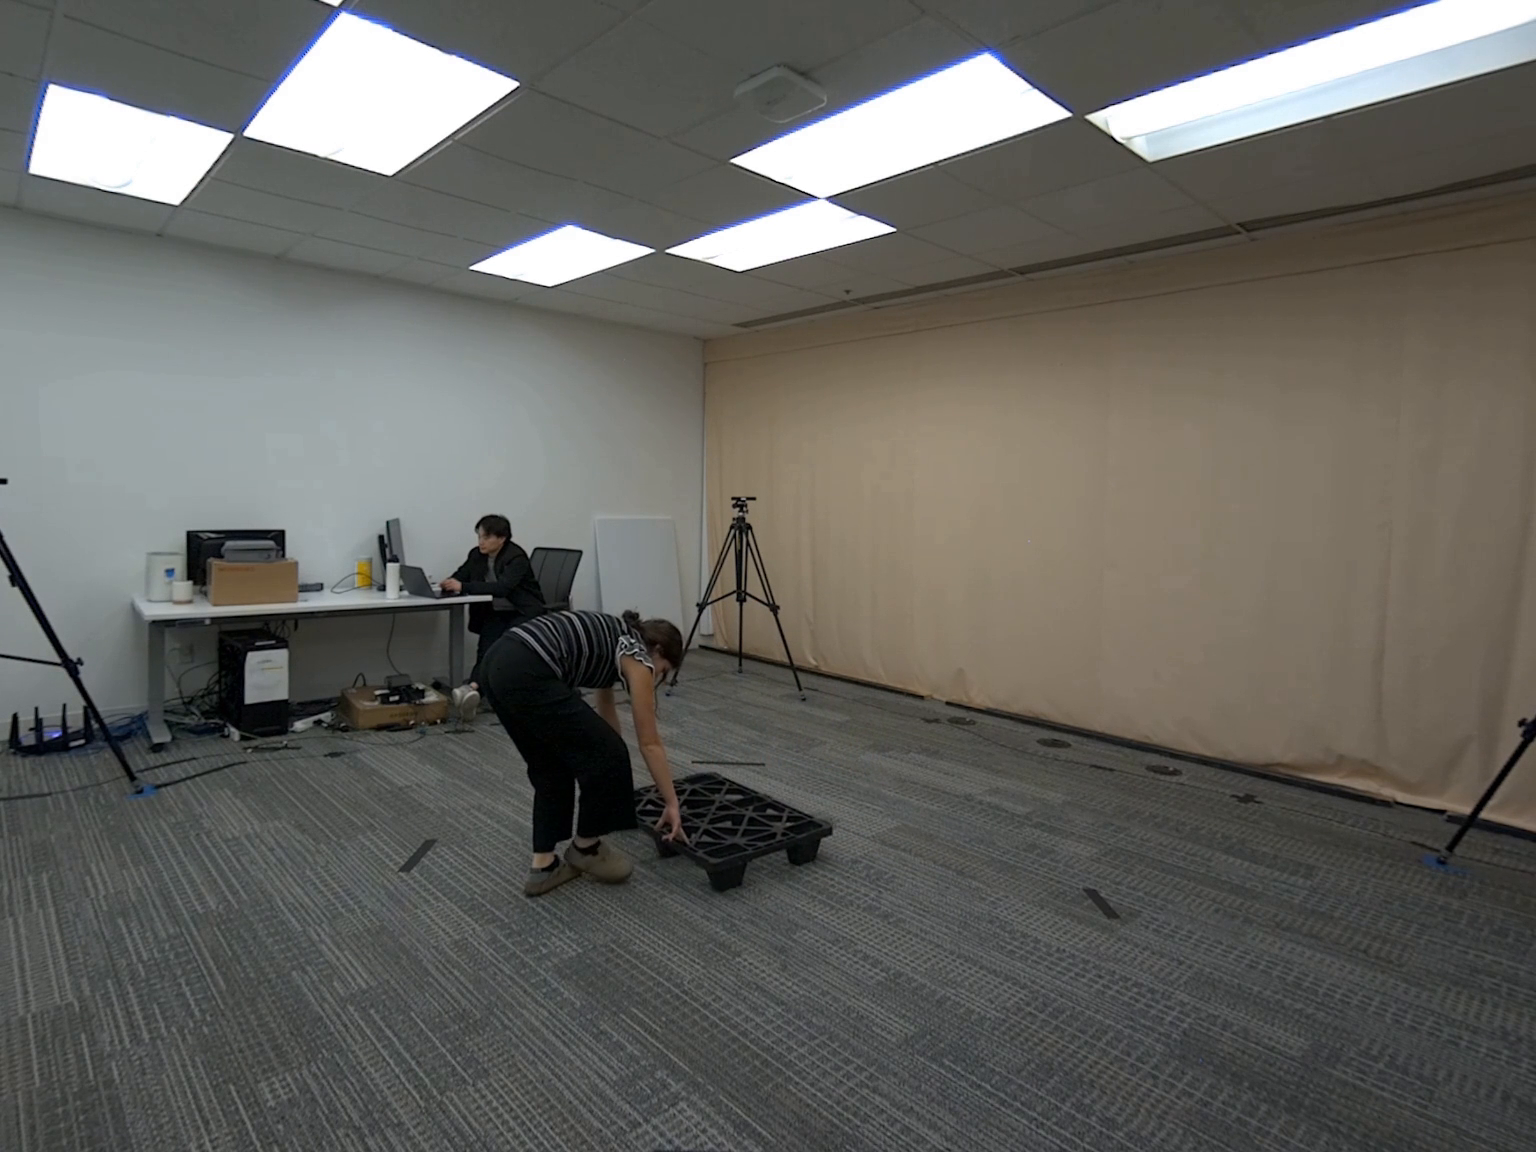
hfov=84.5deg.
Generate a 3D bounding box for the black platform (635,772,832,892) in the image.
[{"bbox_3d":[-0.233,1.011,3.399,0.591,0.143,0.826,-2,6,-39],"label":"black platform"}]
